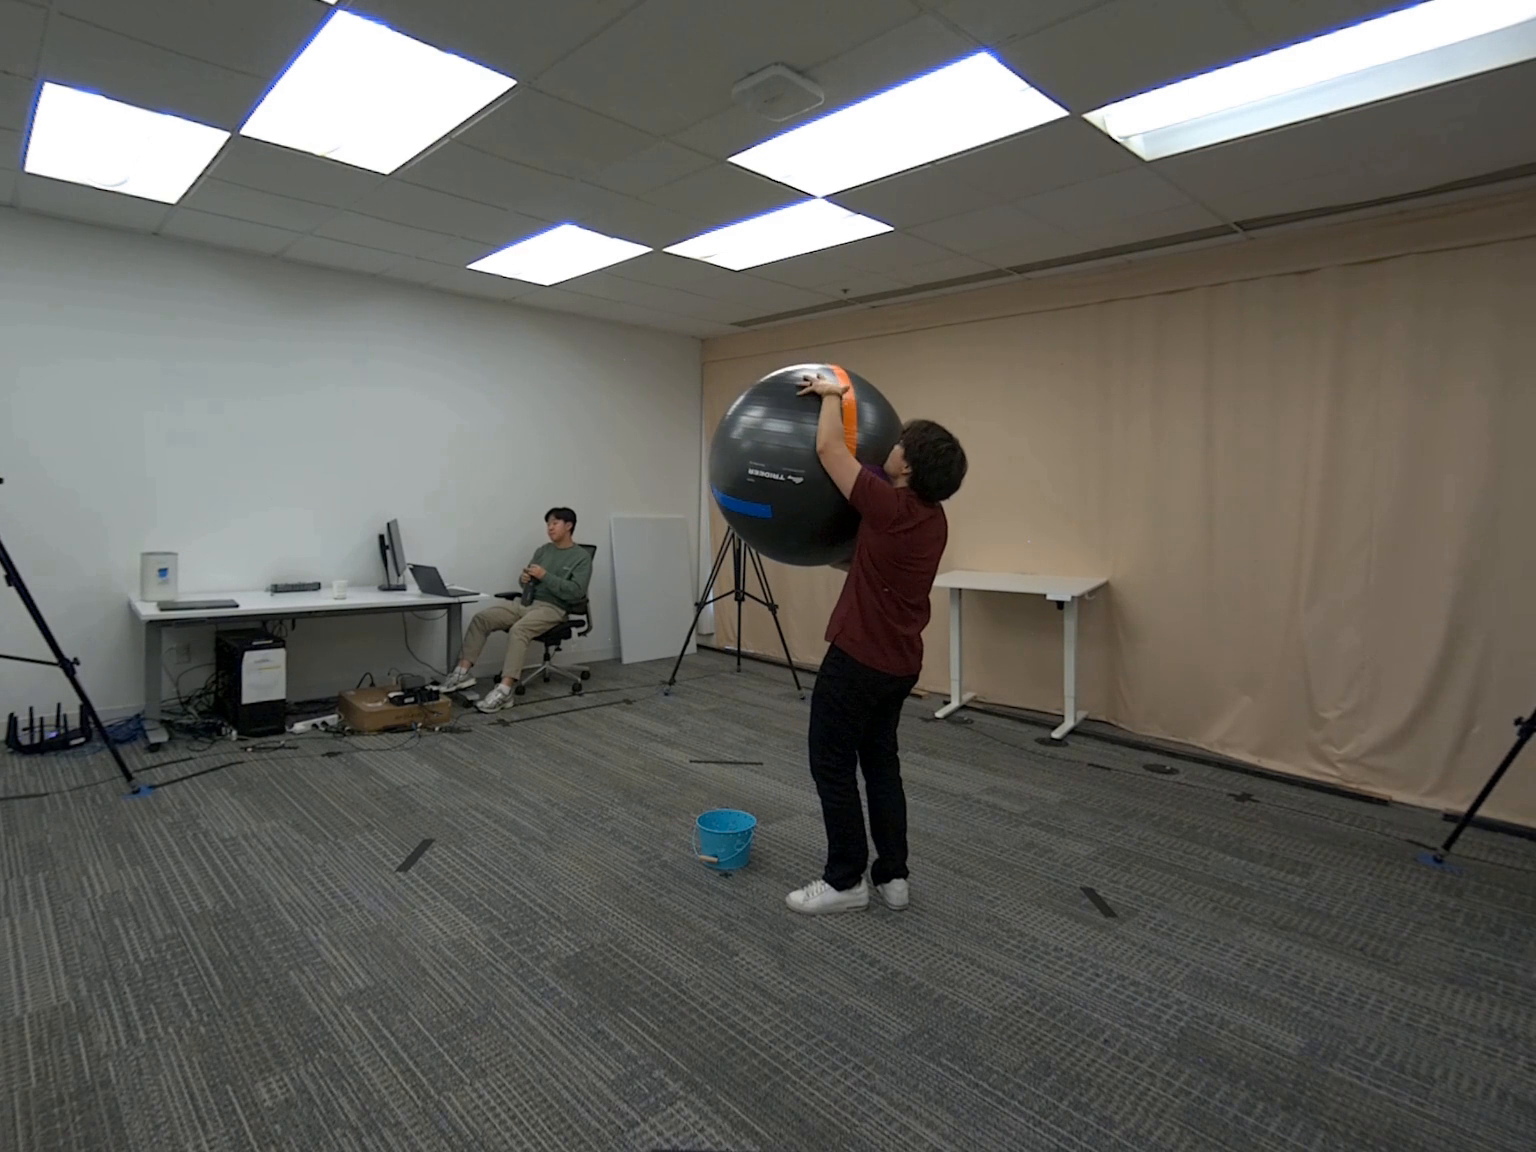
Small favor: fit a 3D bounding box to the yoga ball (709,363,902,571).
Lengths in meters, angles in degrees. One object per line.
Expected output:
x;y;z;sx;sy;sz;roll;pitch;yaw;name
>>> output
0.146;-0.412;3.196;0.757;0.756;0.761;1;4;-1;yoga ball
